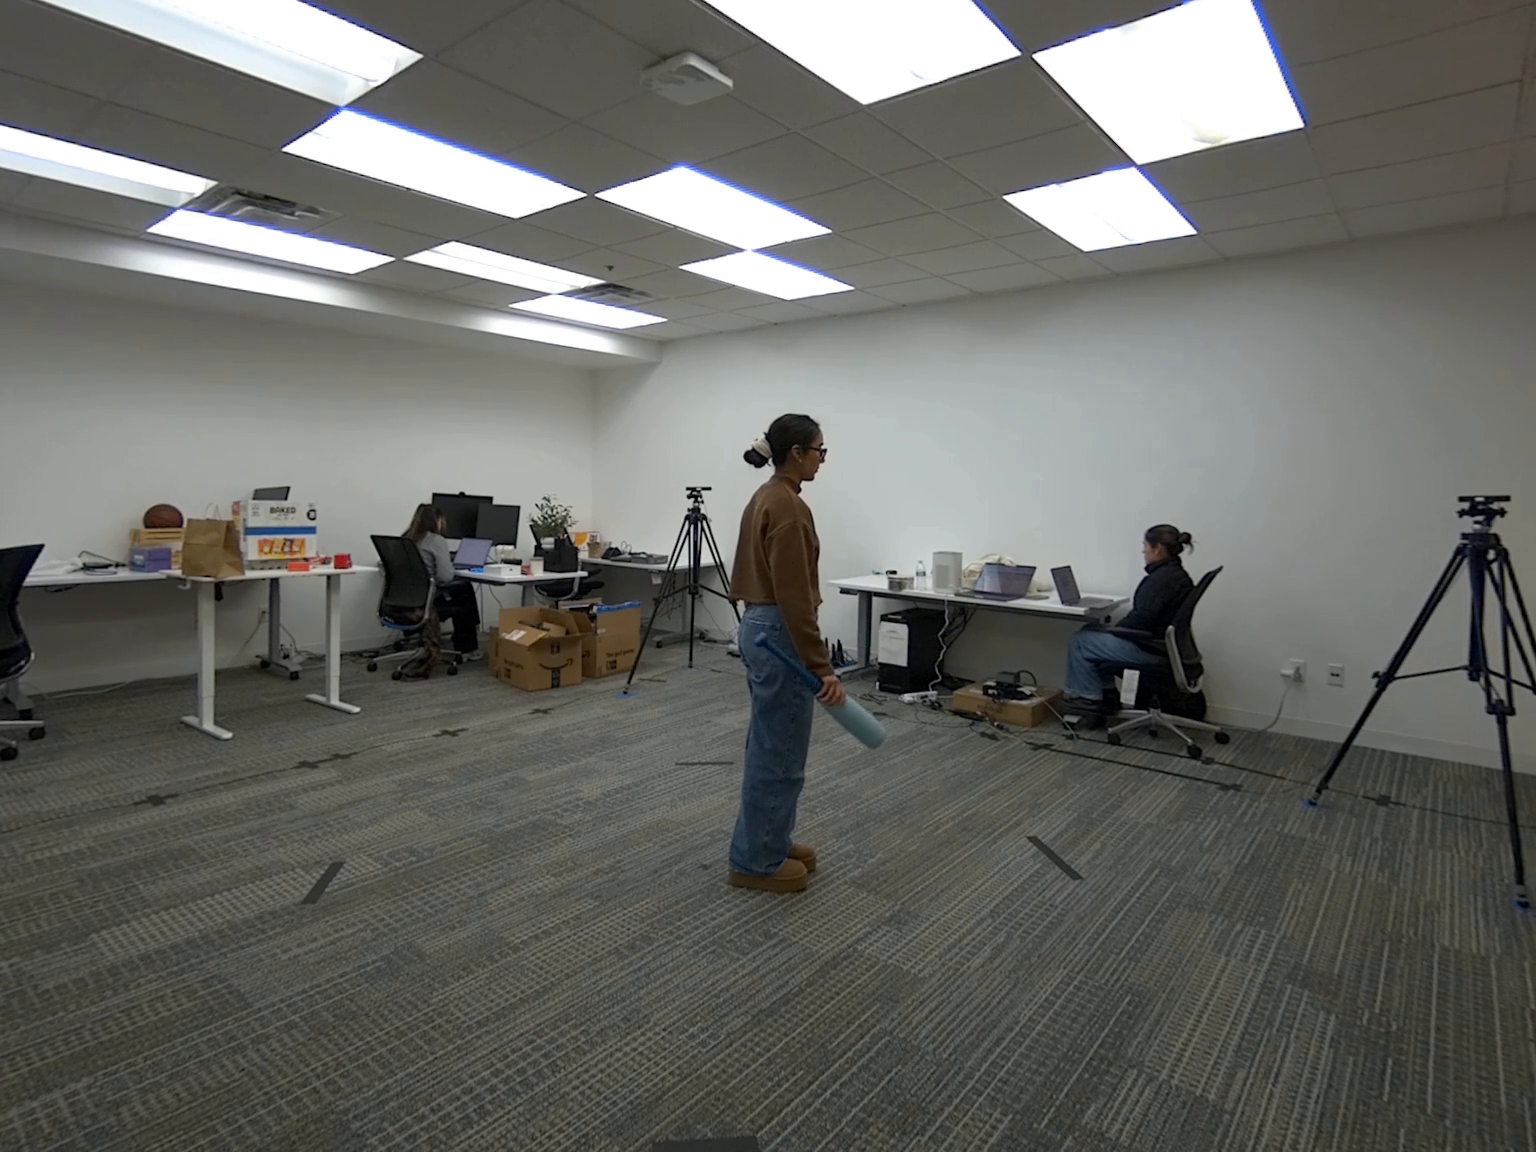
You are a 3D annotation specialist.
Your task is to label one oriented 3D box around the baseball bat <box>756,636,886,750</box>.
[{"bbox_3d":[0.153,0.345,2.727,0.534,0.089,0.090,41,-7,-12],"label":"baseball bat"}]
